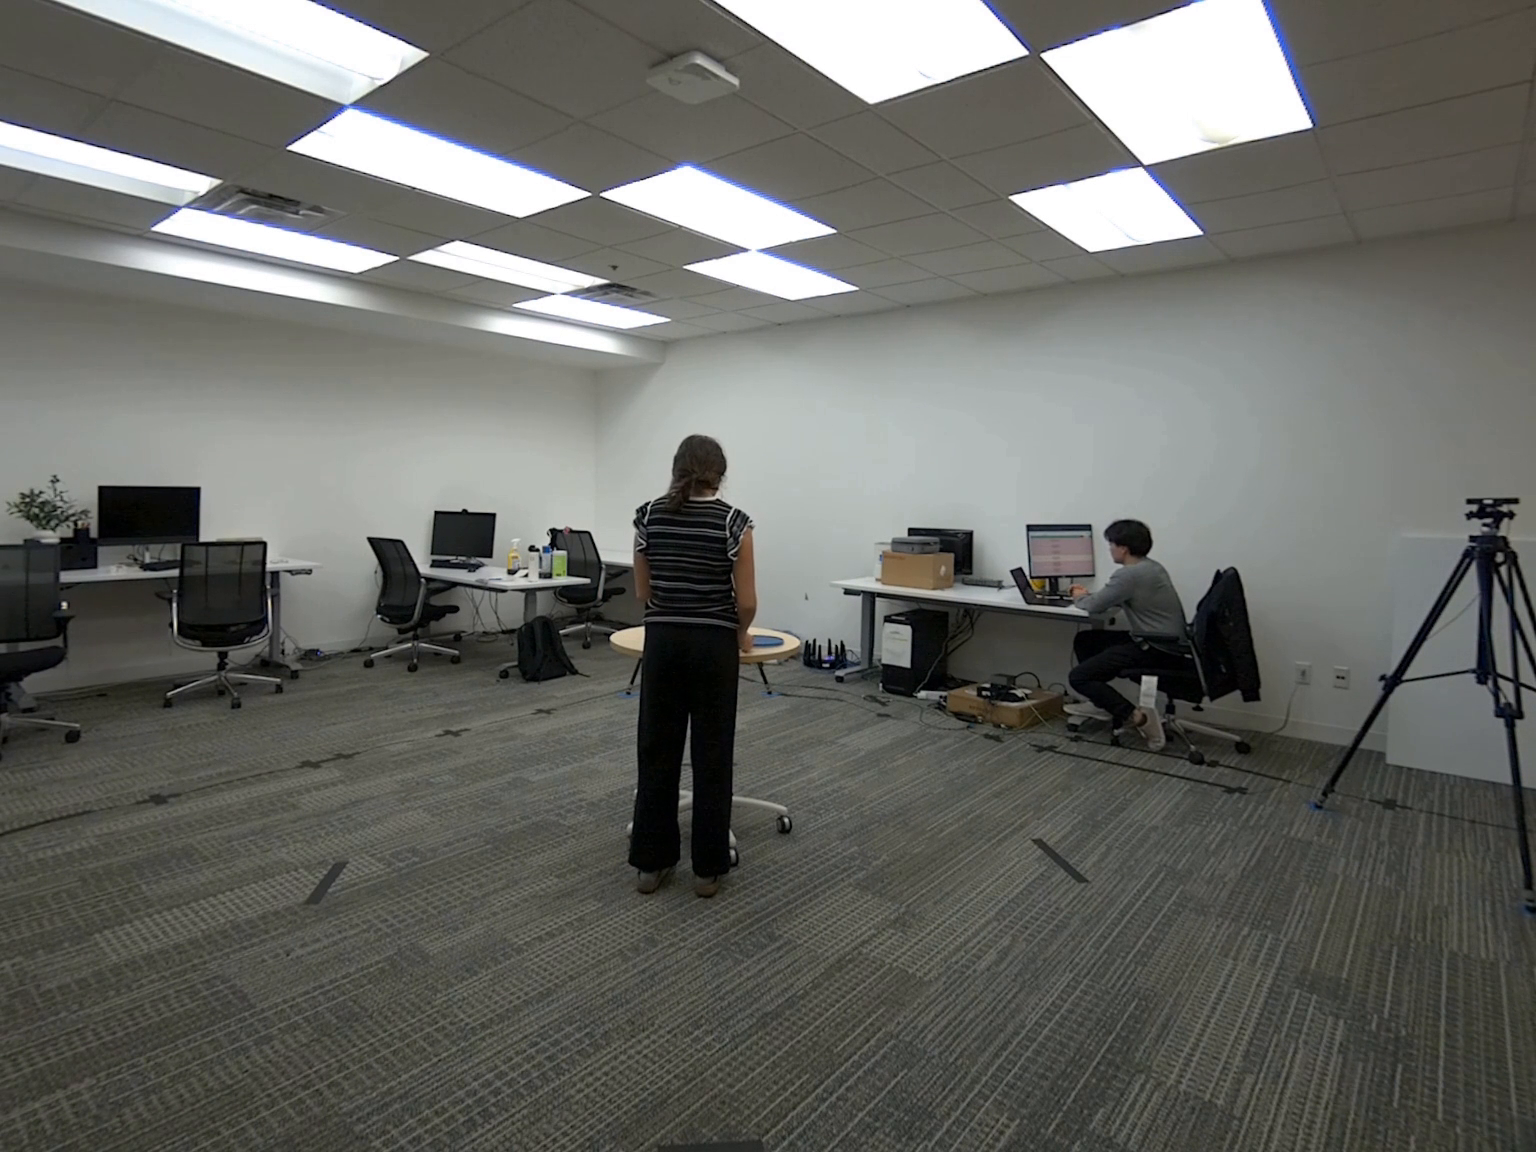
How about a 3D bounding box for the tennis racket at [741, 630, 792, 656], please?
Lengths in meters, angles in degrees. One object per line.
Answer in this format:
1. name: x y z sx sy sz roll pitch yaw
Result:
1. tennis racket: -0.094 0.257 3.301 0.219 0.032 0.422 3 4 26
